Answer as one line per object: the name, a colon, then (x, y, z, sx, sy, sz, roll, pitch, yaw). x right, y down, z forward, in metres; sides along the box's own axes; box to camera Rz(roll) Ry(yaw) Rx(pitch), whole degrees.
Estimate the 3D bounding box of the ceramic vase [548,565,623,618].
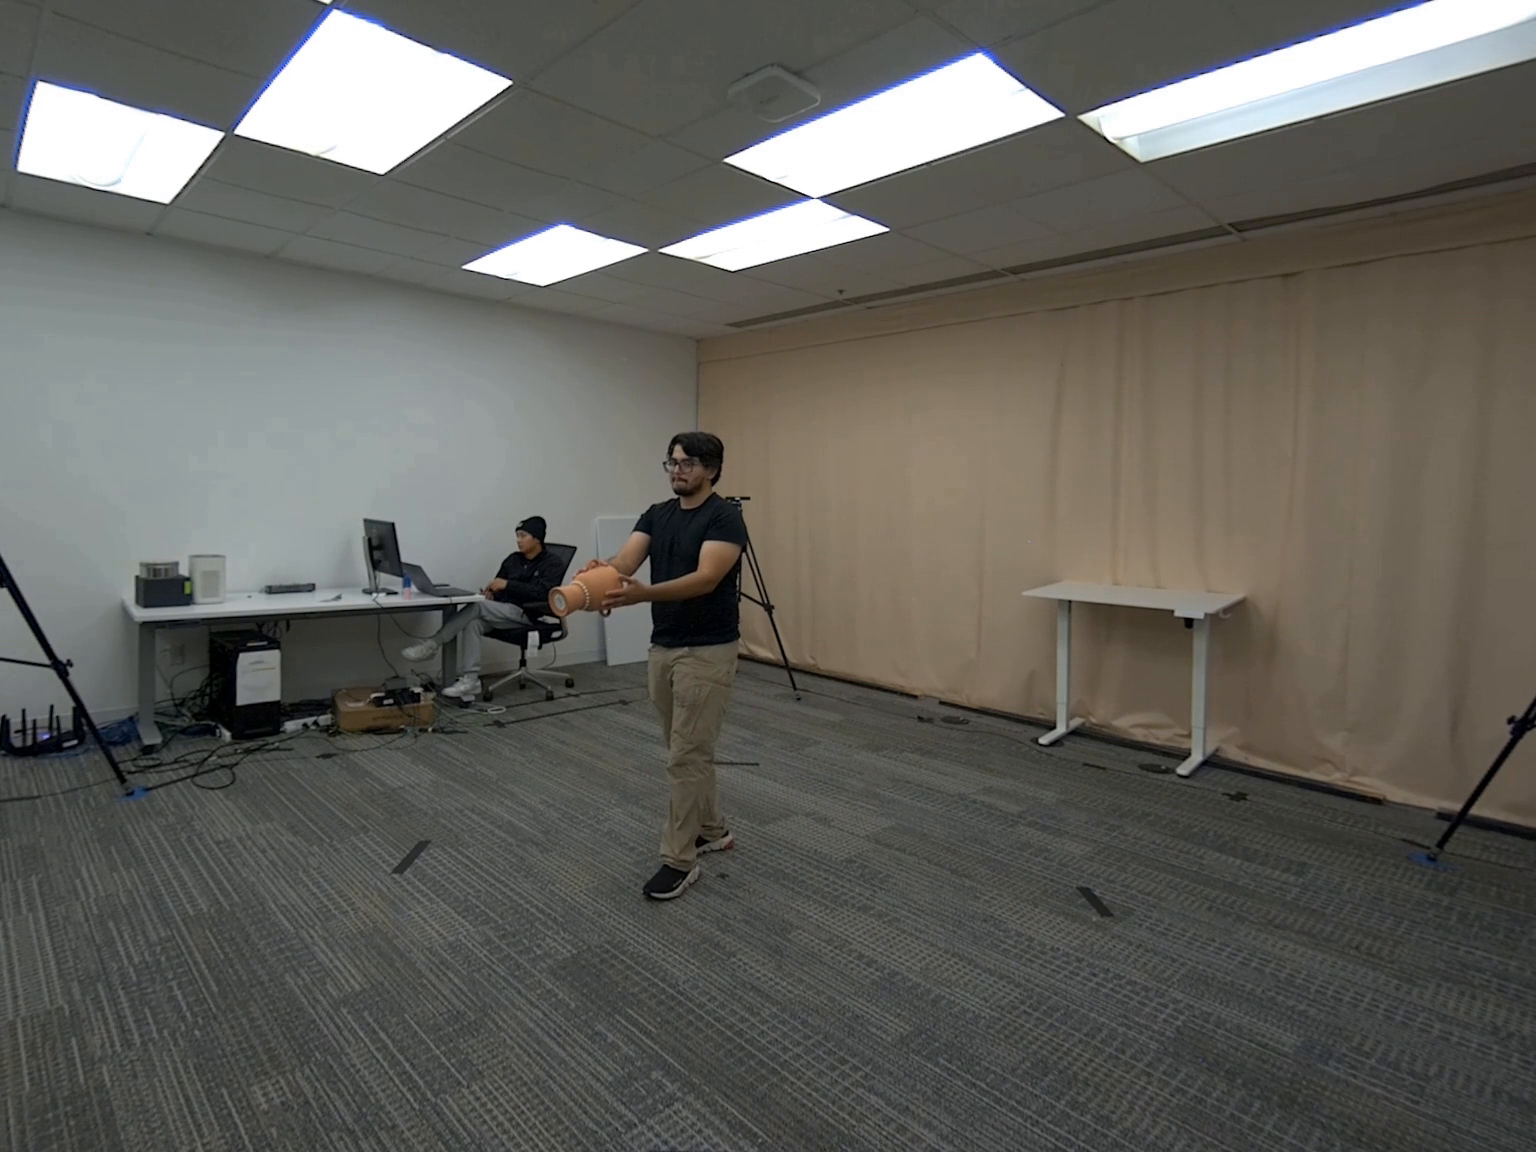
ceramic vase: (-0.587, 0.057, 2.712, 0.162, 0.134, 0.217, 45, 37, 18)
